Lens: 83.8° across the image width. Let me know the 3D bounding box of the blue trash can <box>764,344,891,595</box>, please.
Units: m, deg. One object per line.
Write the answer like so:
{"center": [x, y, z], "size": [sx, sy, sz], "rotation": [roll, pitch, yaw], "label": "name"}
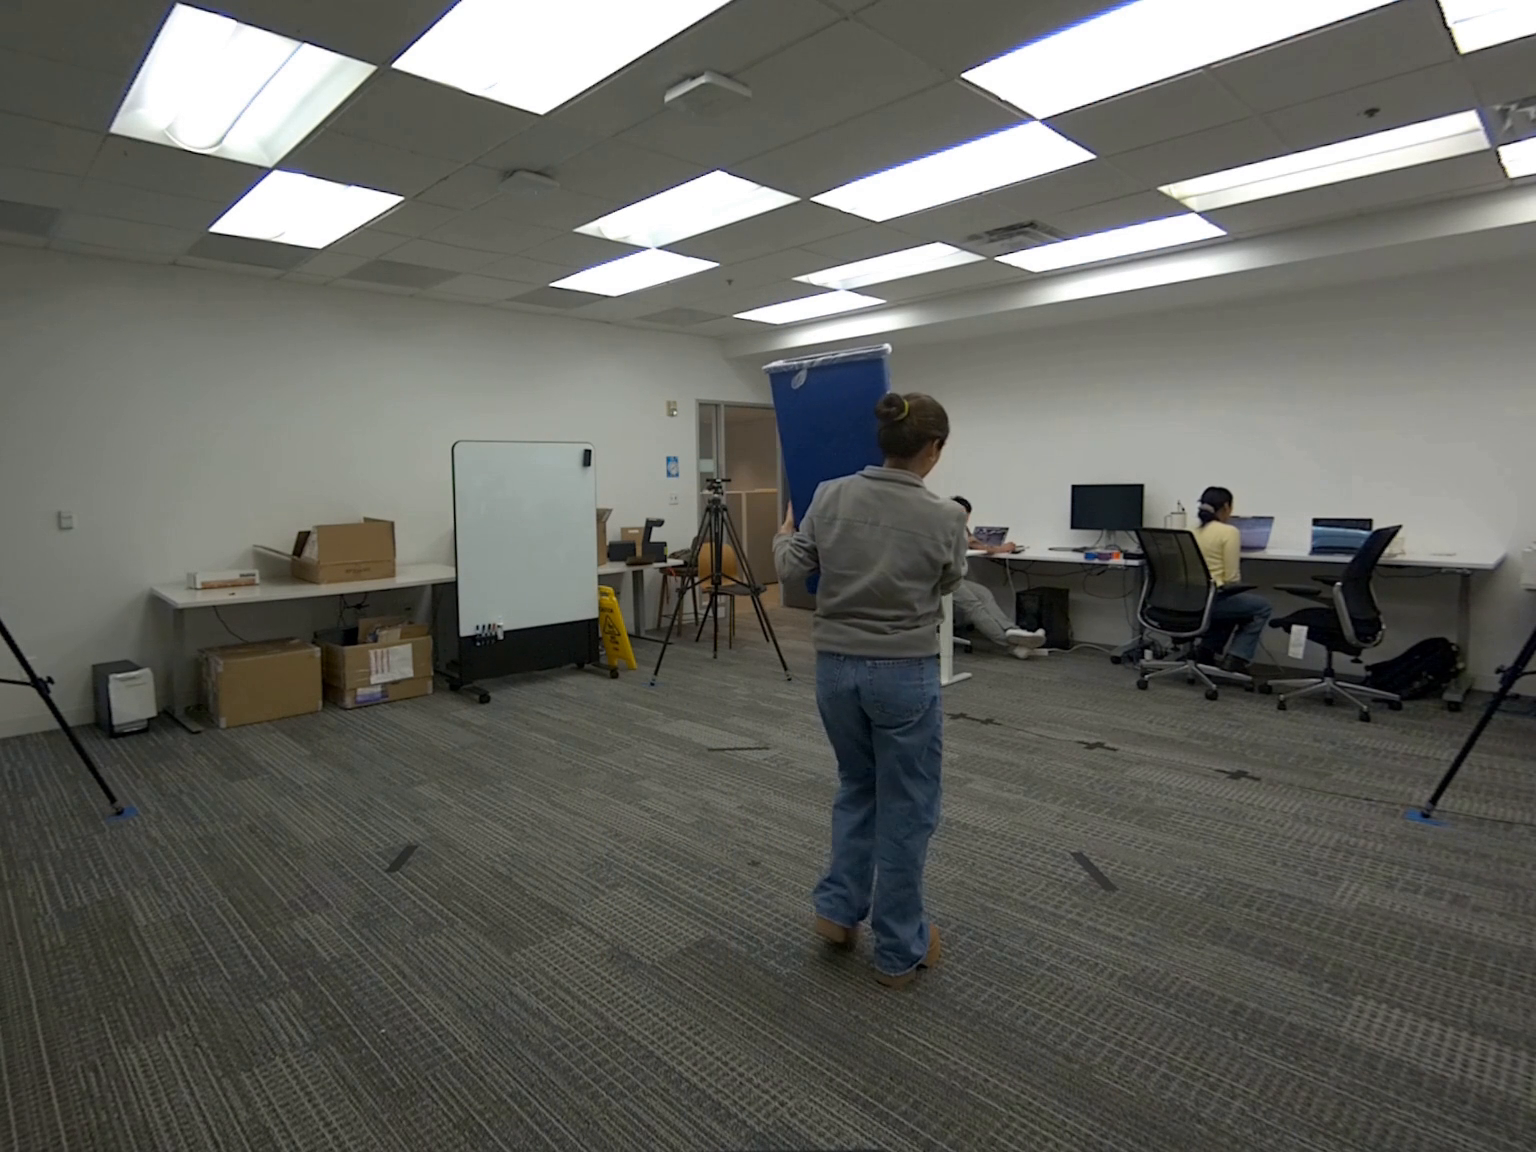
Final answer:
{"center": [0.238, -0.348, 2.692], "size": [0.382, 0.704, 0.375], "rotation": [-6, 14, 12], "label": "blue trash can"}
